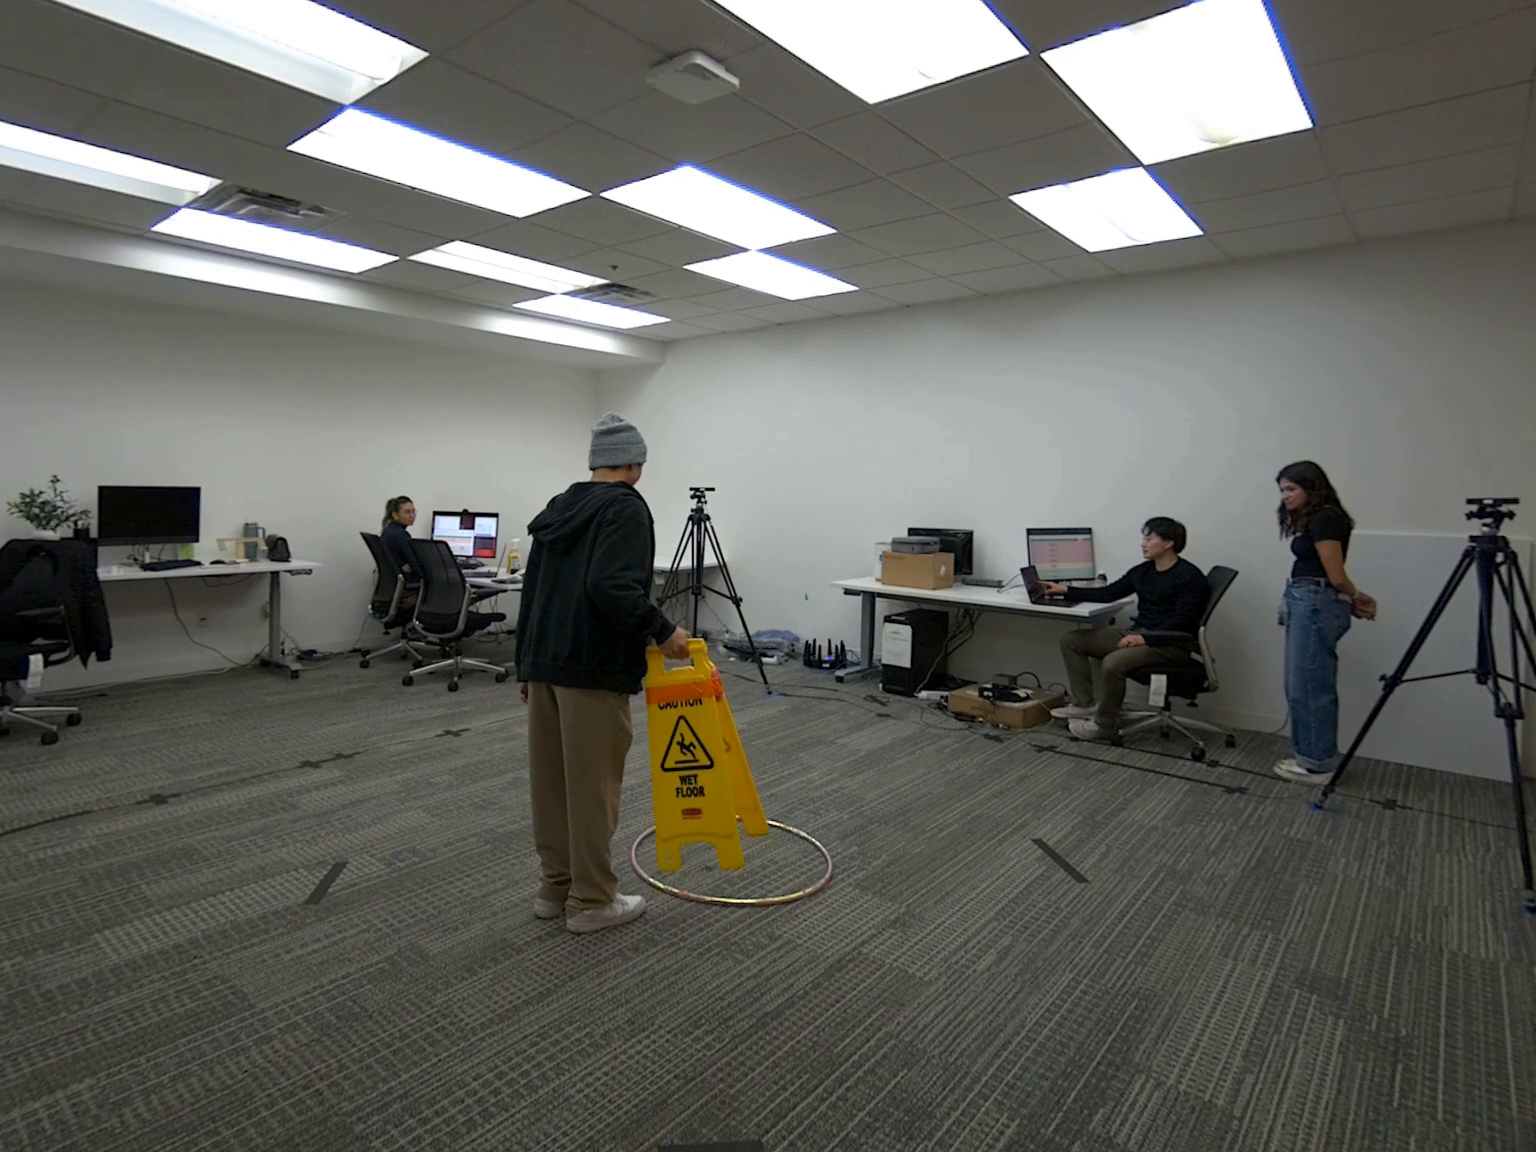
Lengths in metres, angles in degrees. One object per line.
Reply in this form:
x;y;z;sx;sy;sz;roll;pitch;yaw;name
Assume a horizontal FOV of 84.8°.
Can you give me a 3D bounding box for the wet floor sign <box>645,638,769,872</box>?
-0.226;0.522;2.580;0.287;0.646;0.285;-10;0;20;wet floor sign
